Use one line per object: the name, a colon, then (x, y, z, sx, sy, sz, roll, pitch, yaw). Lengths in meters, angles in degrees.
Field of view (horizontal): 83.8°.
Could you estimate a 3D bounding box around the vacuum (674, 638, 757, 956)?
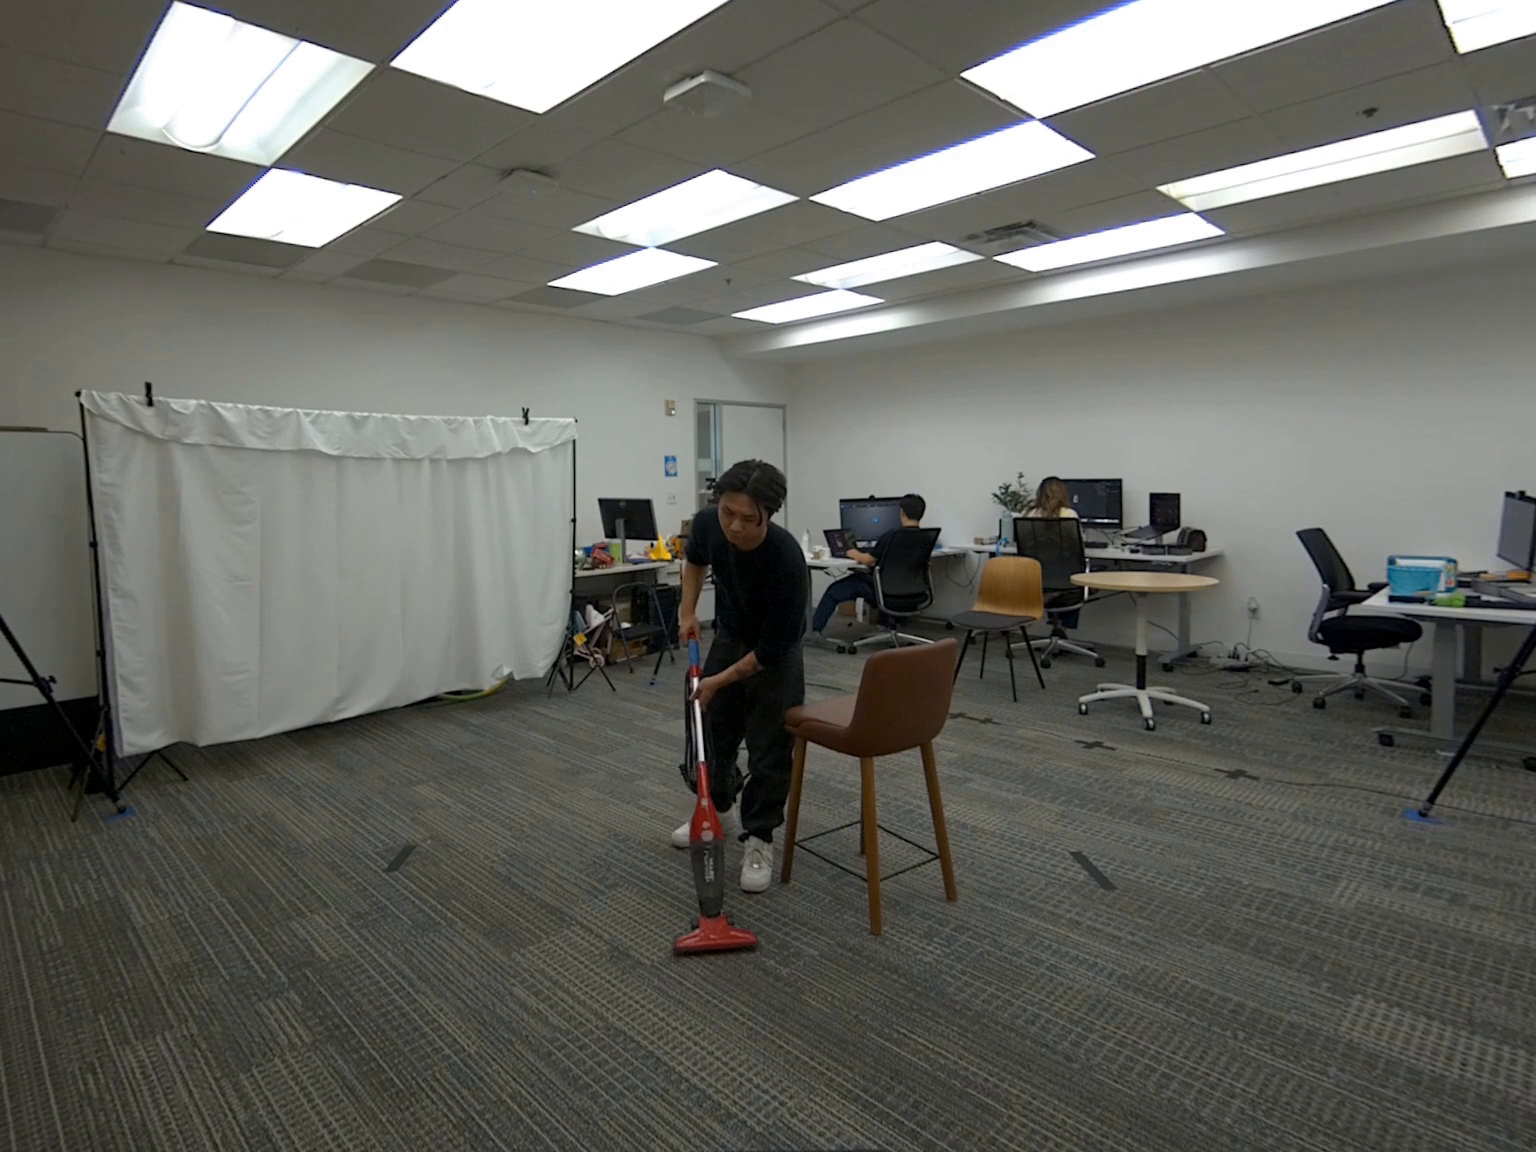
vacuum: (-0.223, 0.644, 2.846, 0.251, 1.079, 0.141, -4, -31, -8)
